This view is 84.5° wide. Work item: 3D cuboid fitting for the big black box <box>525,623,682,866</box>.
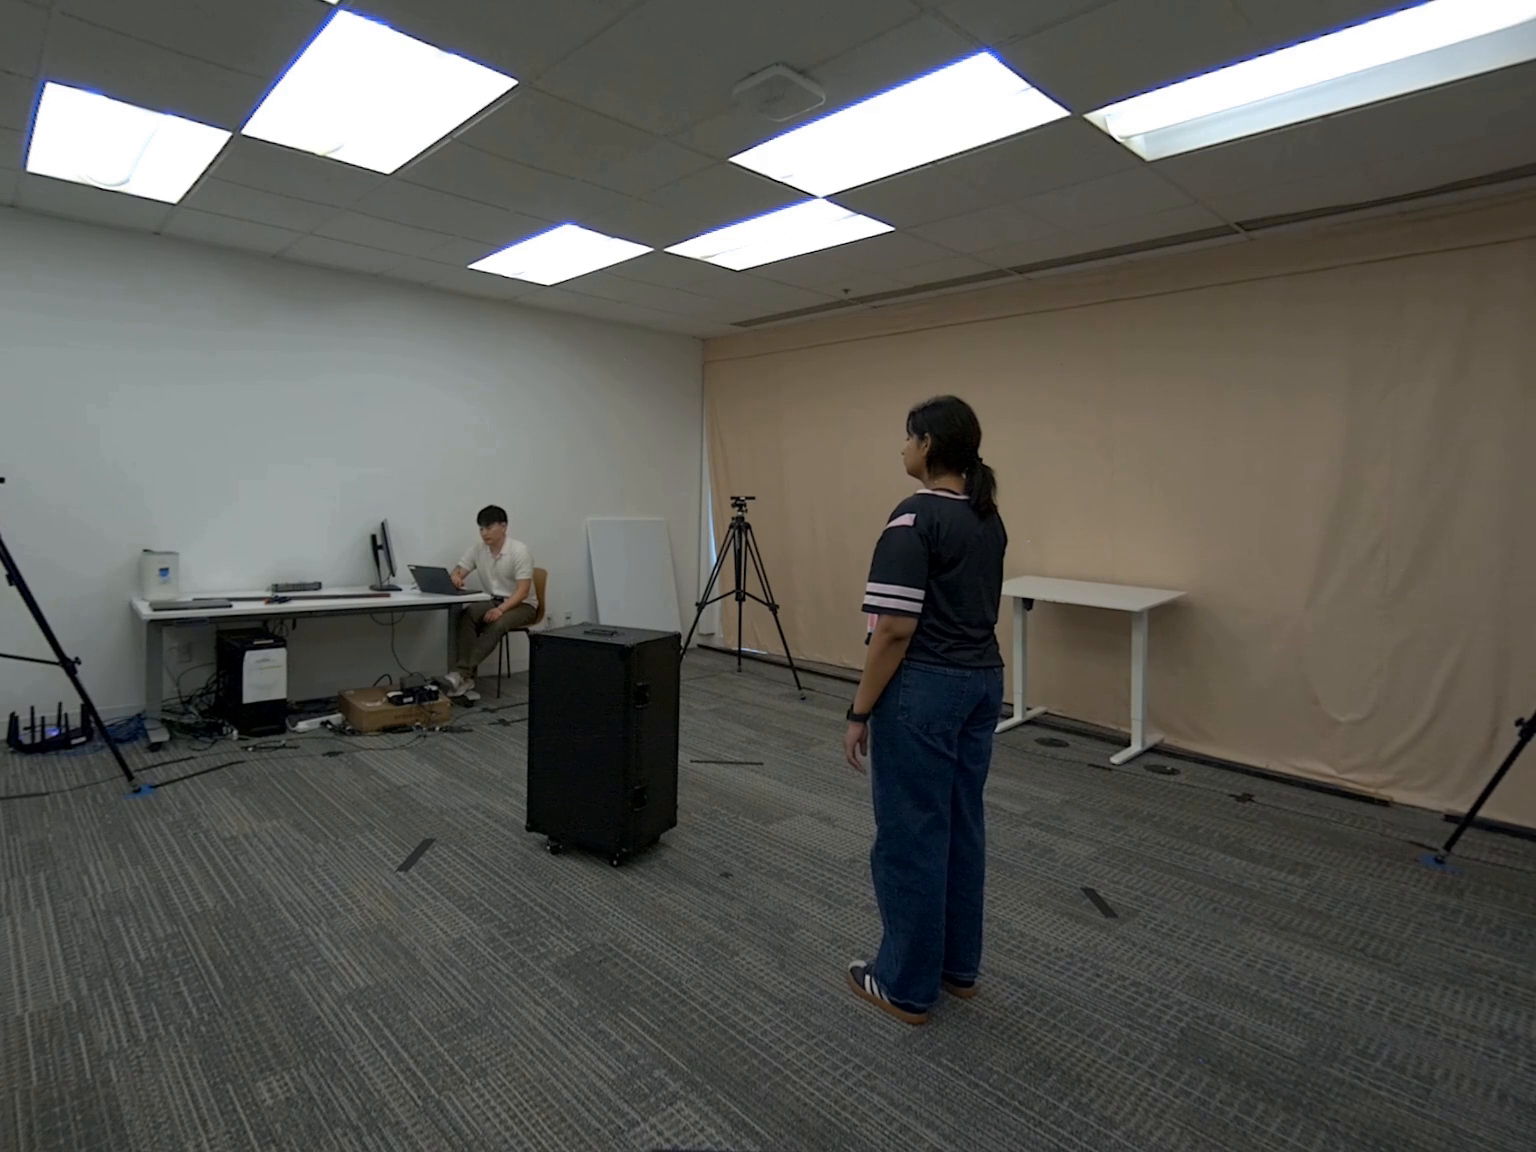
[{"bbox_3d":[-0.656,0.649,3.330,0.534,0.867,0.378,3,3,27],"label":"big black box"}]
